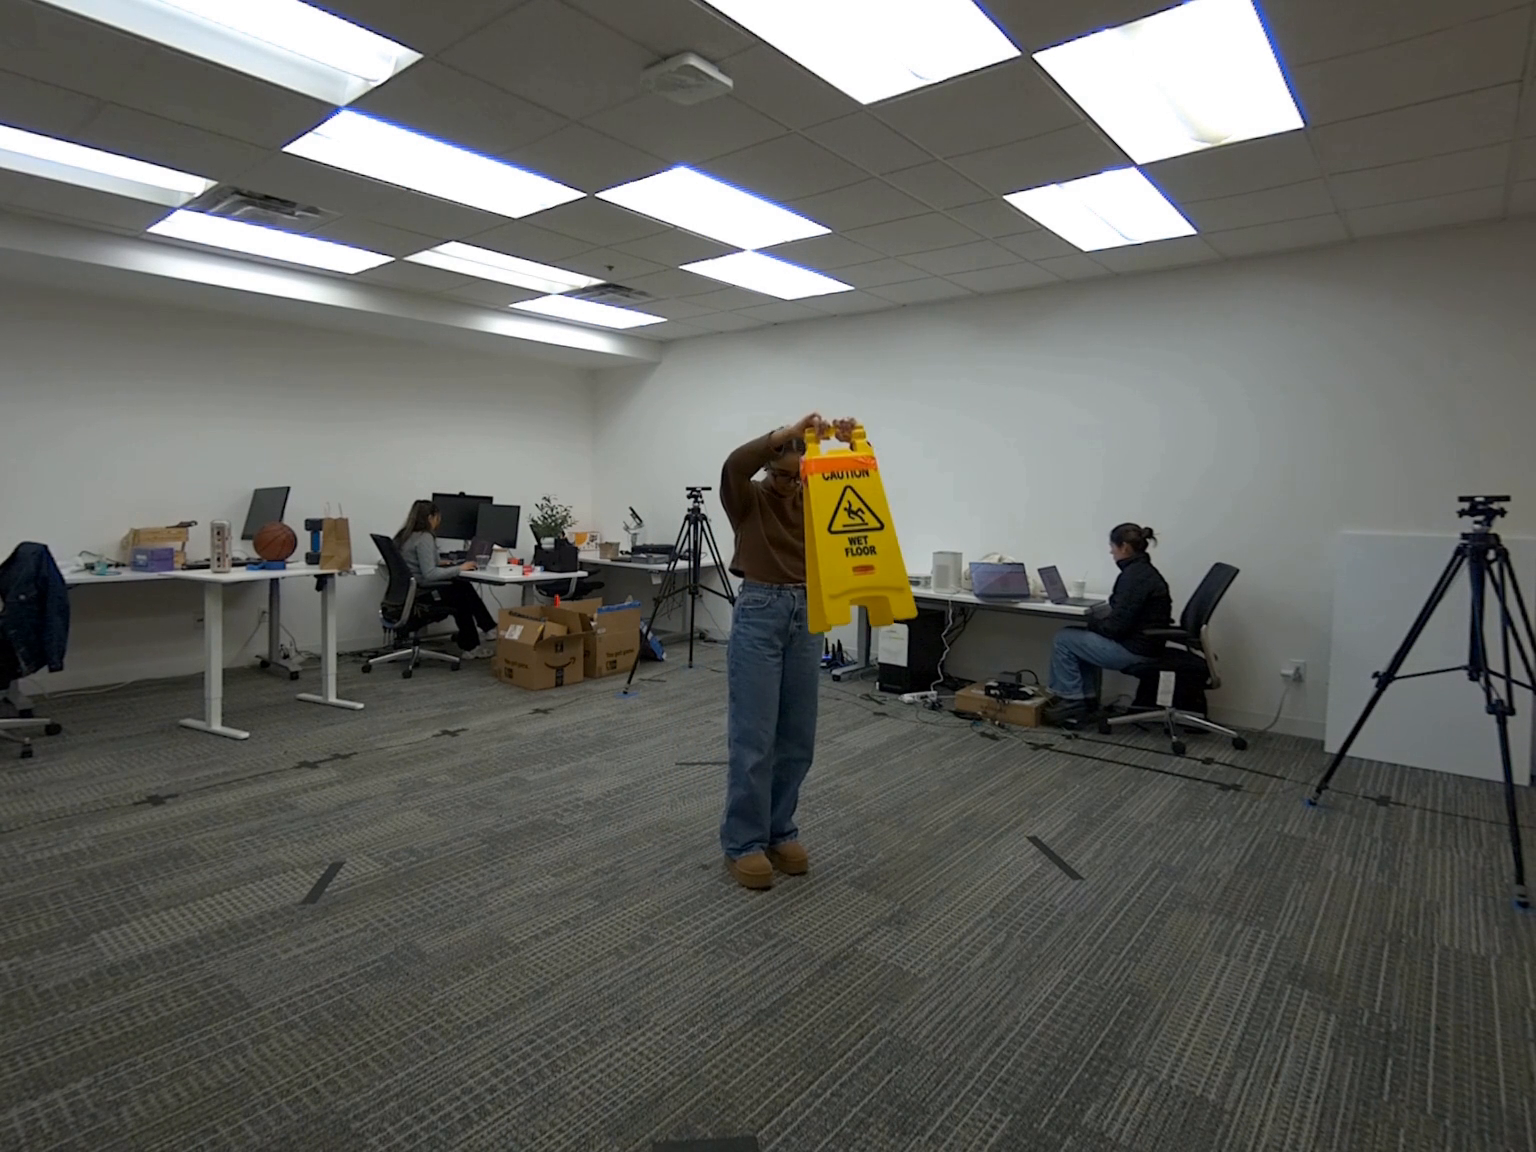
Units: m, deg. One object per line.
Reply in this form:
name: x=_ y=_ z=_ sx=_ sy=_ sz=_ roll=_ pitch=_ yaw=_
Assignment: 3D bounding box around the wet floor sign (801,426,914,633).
wet floor sign: x=0.226 y=-0.152 z=2.691 sx=0.280 sy=0.653 sz=0.289 roll=-3 pitch=-10 yaw=-7
